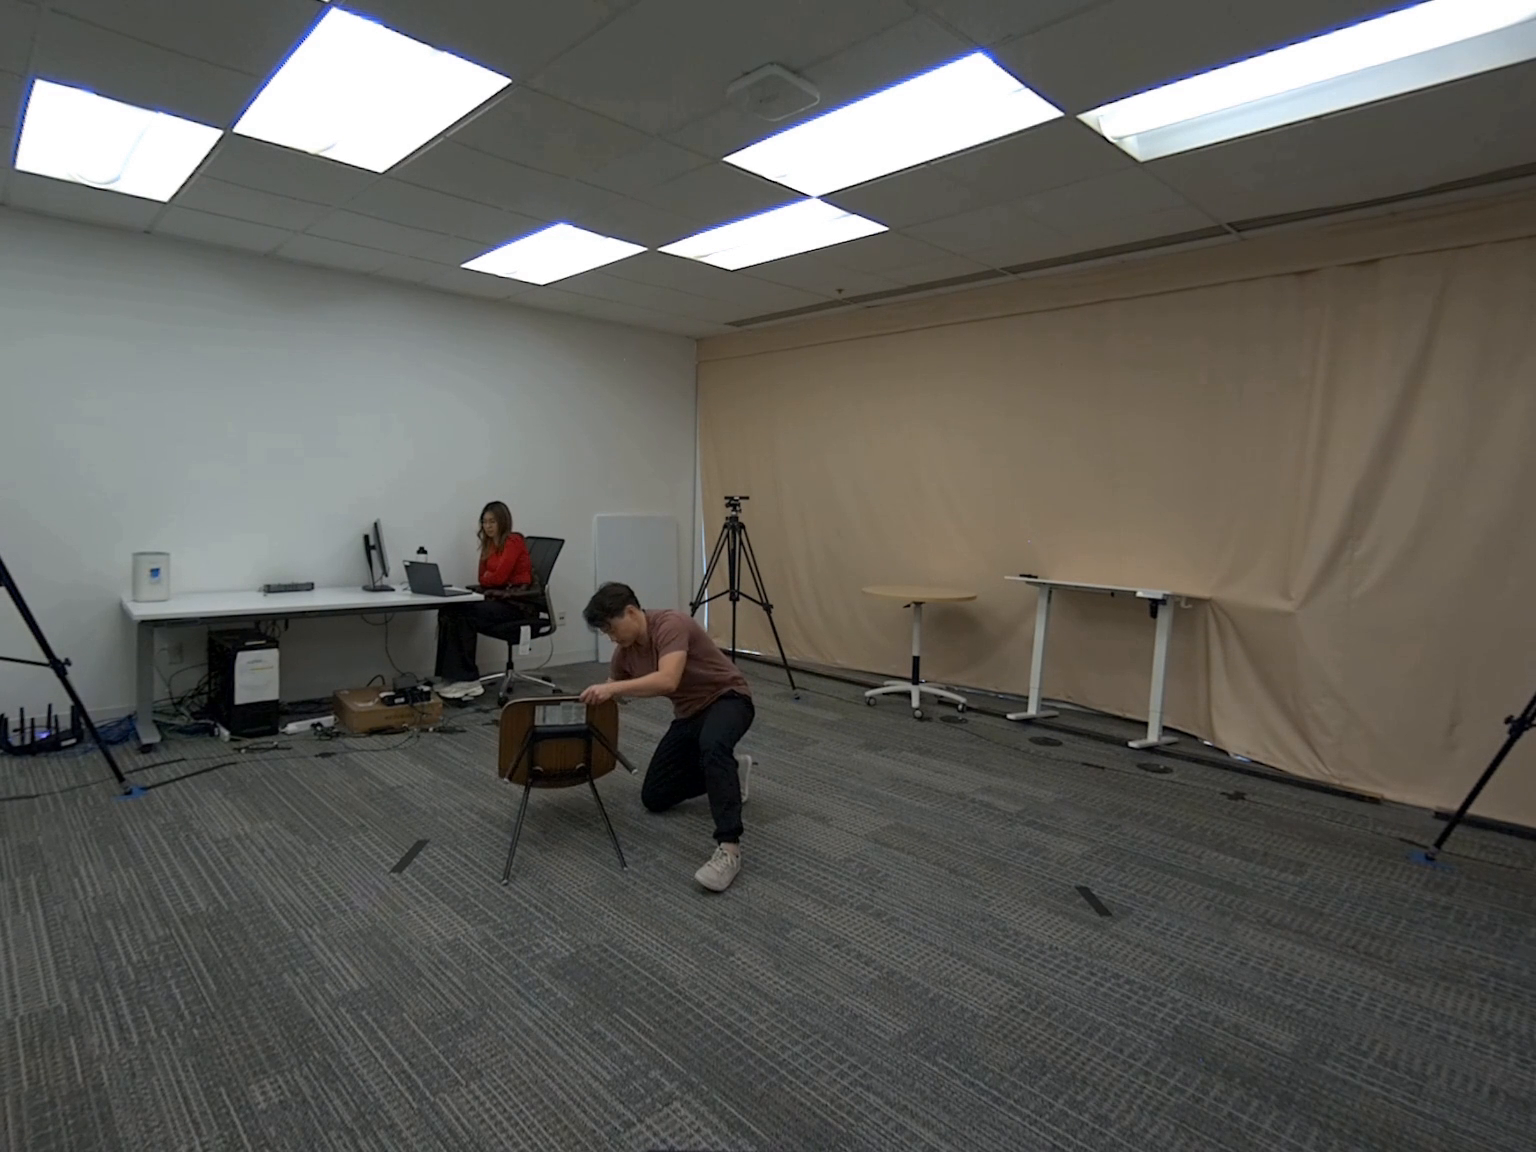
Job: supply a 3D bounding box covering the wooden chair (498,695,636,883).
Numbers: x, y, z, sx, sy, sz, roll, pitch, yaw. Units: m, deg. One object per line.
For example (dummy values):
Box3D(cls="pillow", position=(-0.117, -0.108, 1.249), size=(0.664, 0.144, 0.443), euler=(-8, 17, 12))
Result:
Box3D(cls="wooden chair", position=(-0.824, 0.707, 3.336), size=(0.472, 0.517, 0.899), euler=(0, 20, -18))
